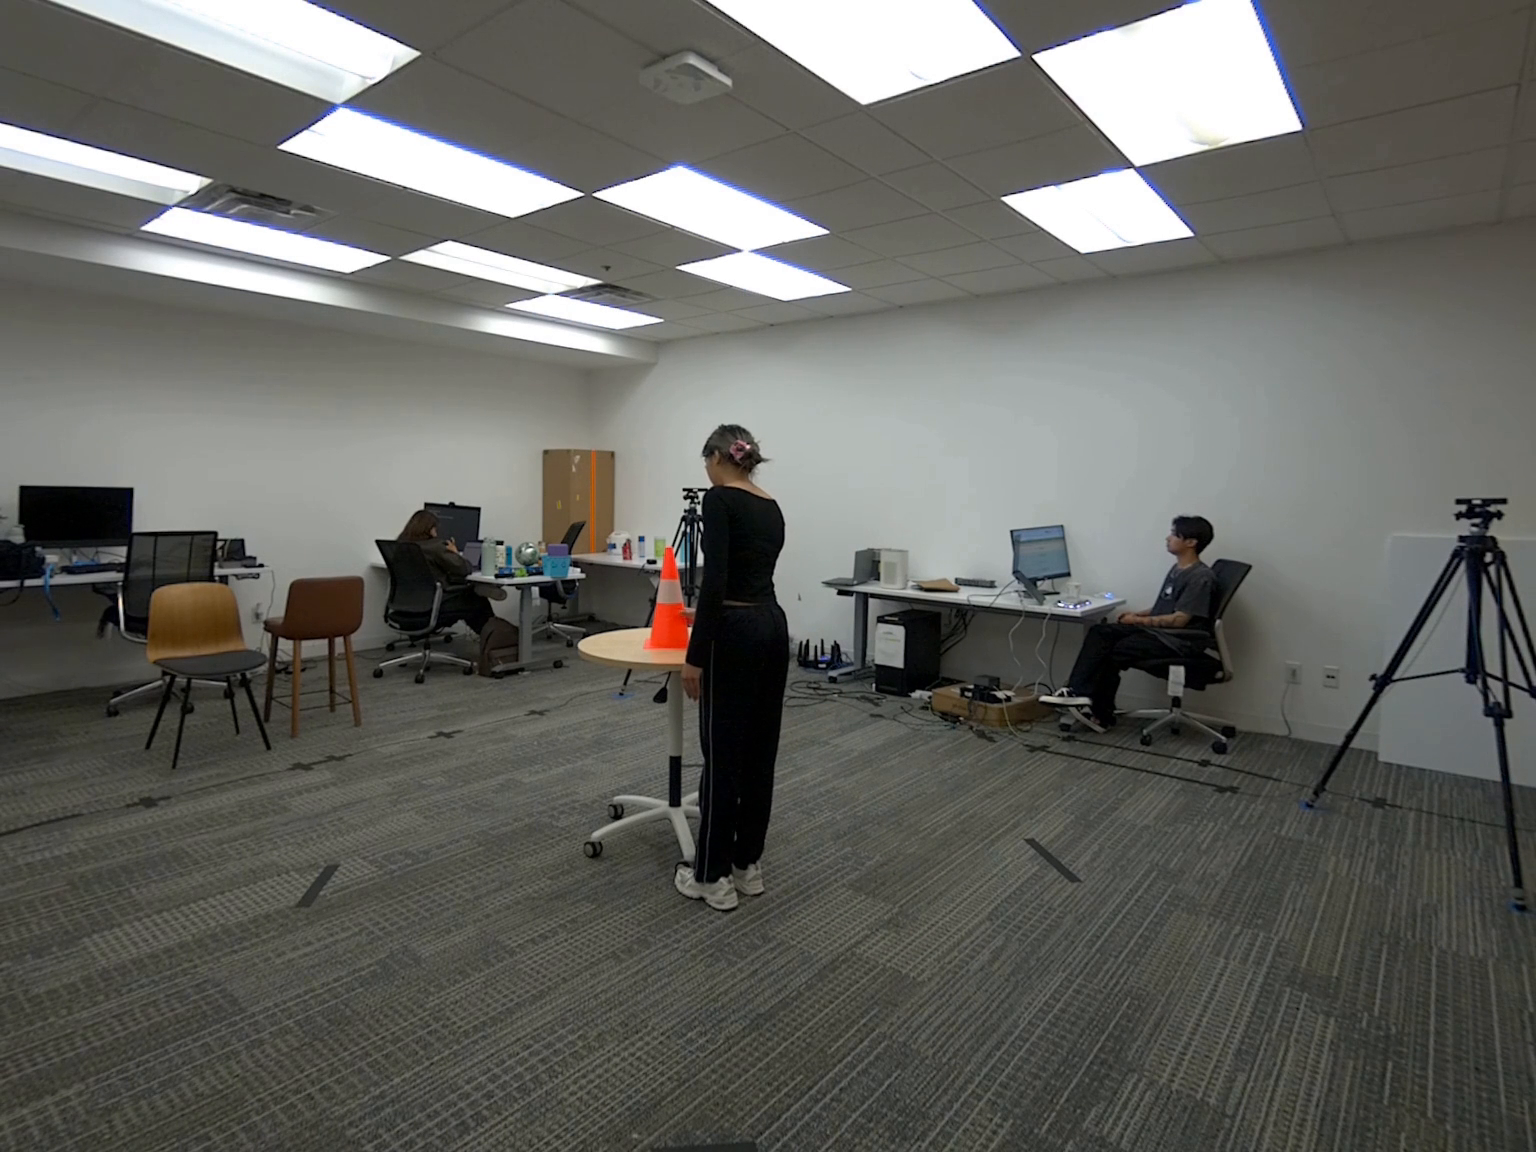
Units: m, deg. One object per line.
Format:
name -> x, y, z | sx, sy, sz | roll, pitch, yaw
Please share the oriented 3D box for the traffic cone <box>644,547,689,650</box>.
traffic cone -> -0.399, 0.077, 3.299 | 0.205, 0.383, 0.204 | 0, 3, -1
